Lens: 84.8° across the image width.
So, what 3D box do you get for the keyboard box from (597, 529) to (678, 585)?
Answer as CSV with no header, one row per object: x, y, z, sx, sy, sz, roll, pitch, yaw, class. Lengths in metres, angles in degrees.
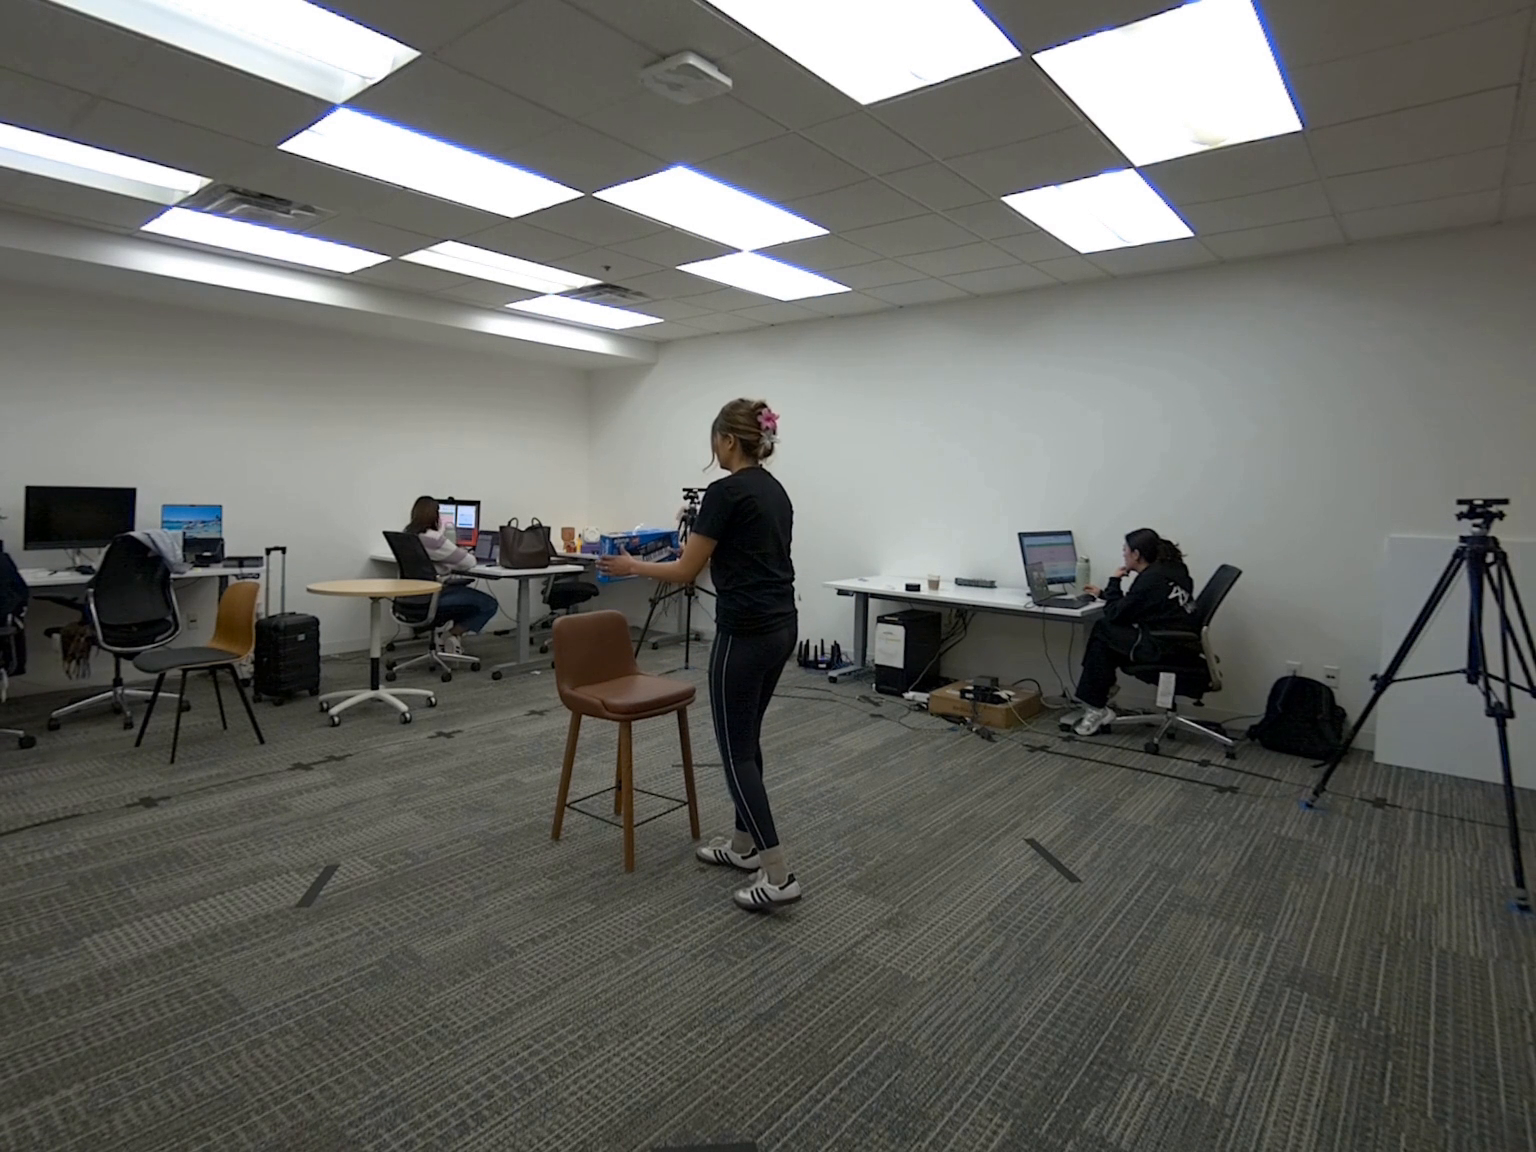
-0.507,-0.084,3.307,0.061,0.174,0.427,11,11,28,keyboard box
